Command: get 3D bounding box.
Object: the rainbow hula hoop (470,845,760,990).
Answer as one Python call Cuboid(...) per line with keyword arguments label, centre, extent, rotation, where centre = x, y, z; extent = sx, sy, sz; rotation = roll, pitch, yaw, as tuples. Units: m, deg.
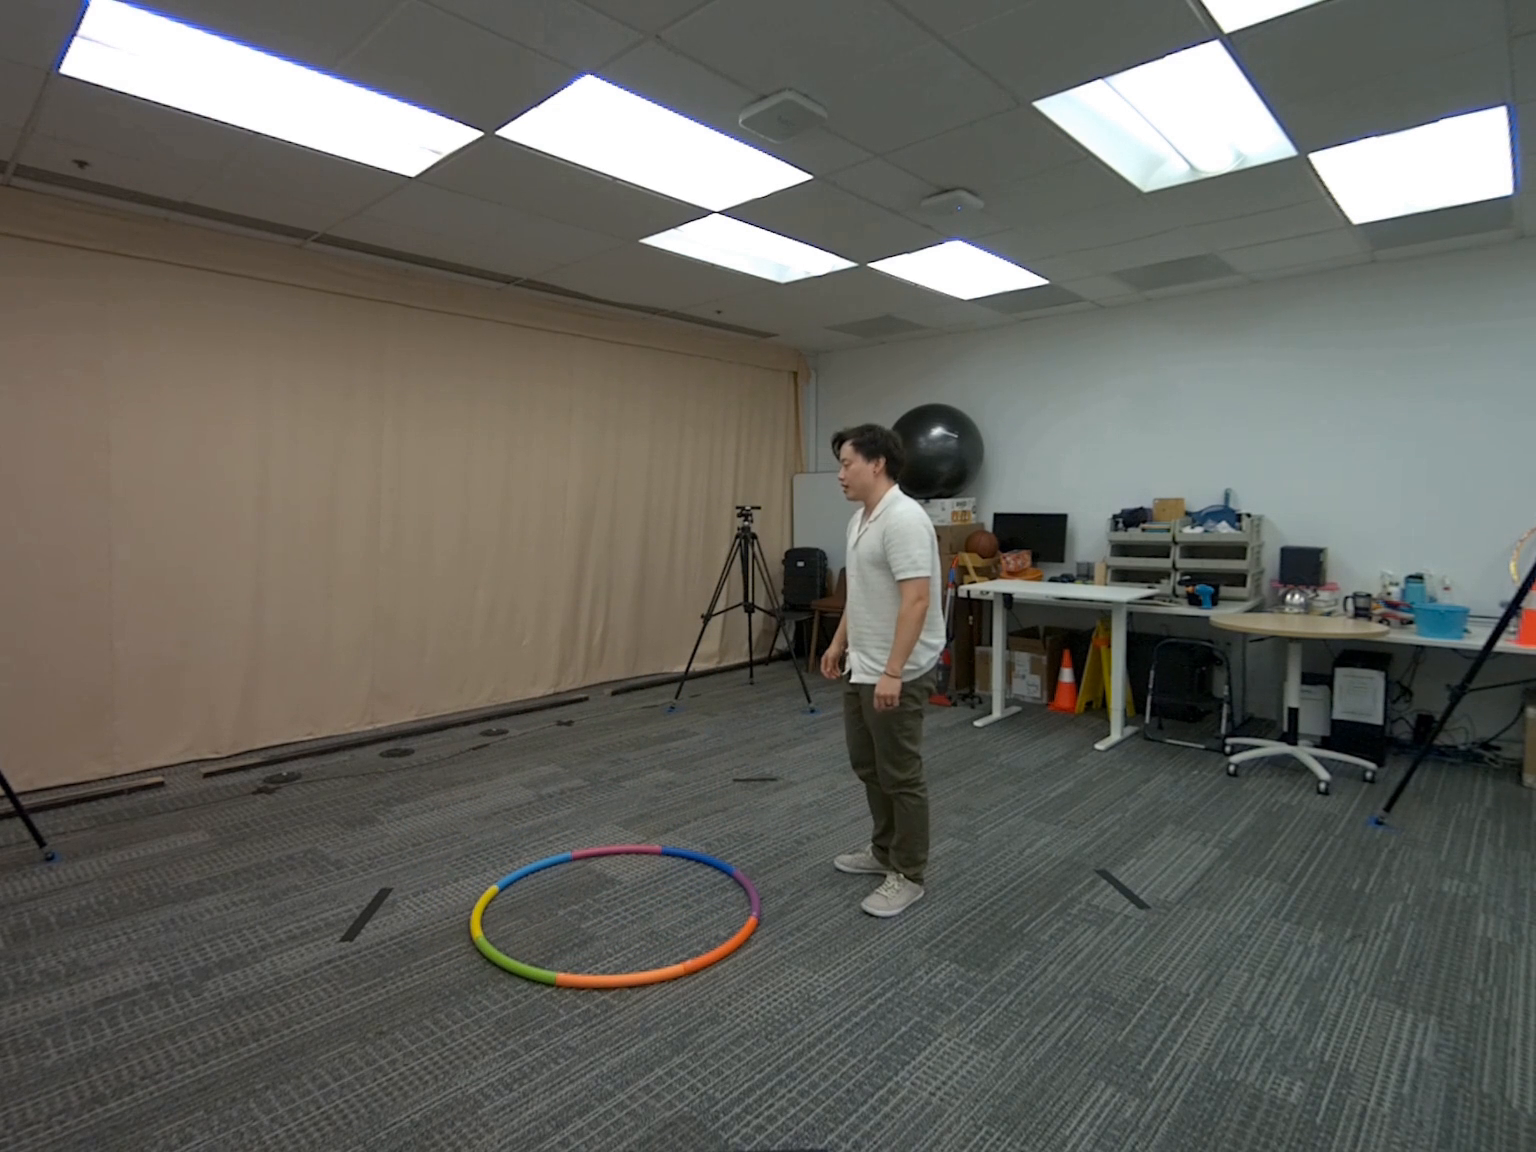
Cuboid(label="rainbow hula hoop", centre=(-0.511, 1.123, 2.909), extent=(0.978, 0.035, 0.982), rotation=(0, 5, -2))
